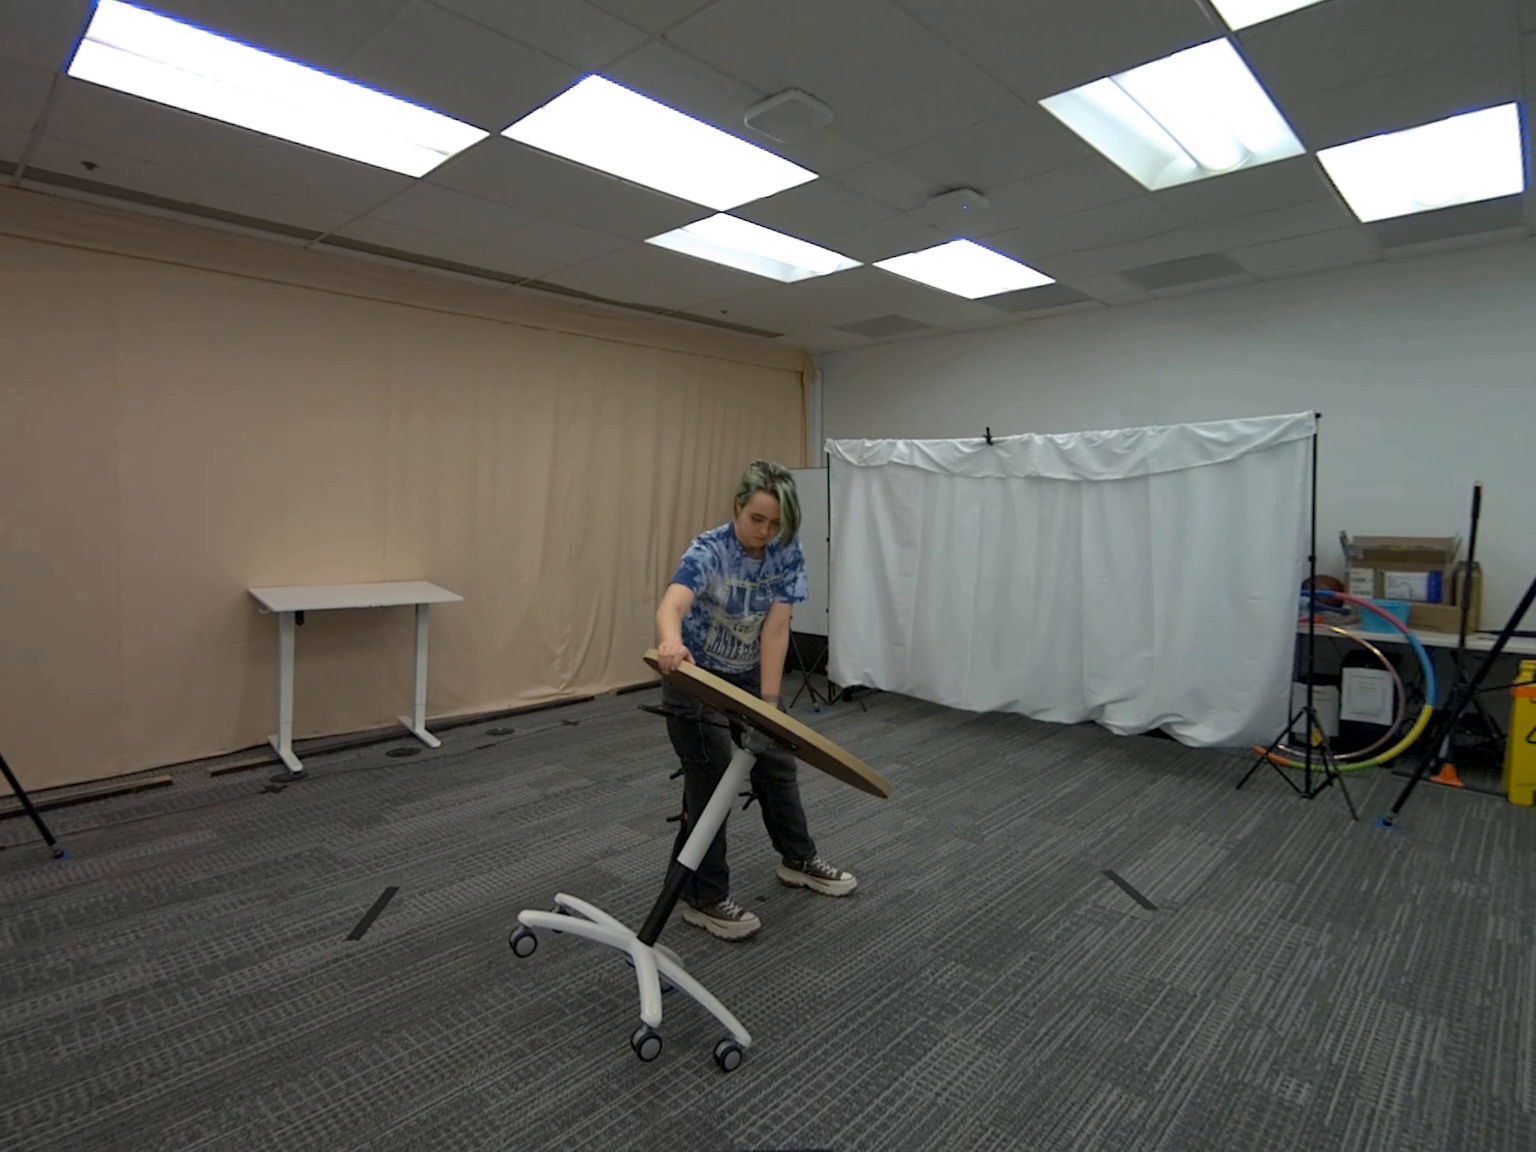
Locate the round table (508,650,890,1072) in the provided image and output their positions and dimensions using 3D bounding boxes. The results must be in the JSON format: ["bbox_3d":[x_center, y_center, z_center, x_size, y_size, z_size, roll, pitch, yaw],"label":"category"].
[{"bbox_3d":[-0.202,0.733,2.237,0.770,0.794,0.758,28,-13,5],"label":"round table"}]
